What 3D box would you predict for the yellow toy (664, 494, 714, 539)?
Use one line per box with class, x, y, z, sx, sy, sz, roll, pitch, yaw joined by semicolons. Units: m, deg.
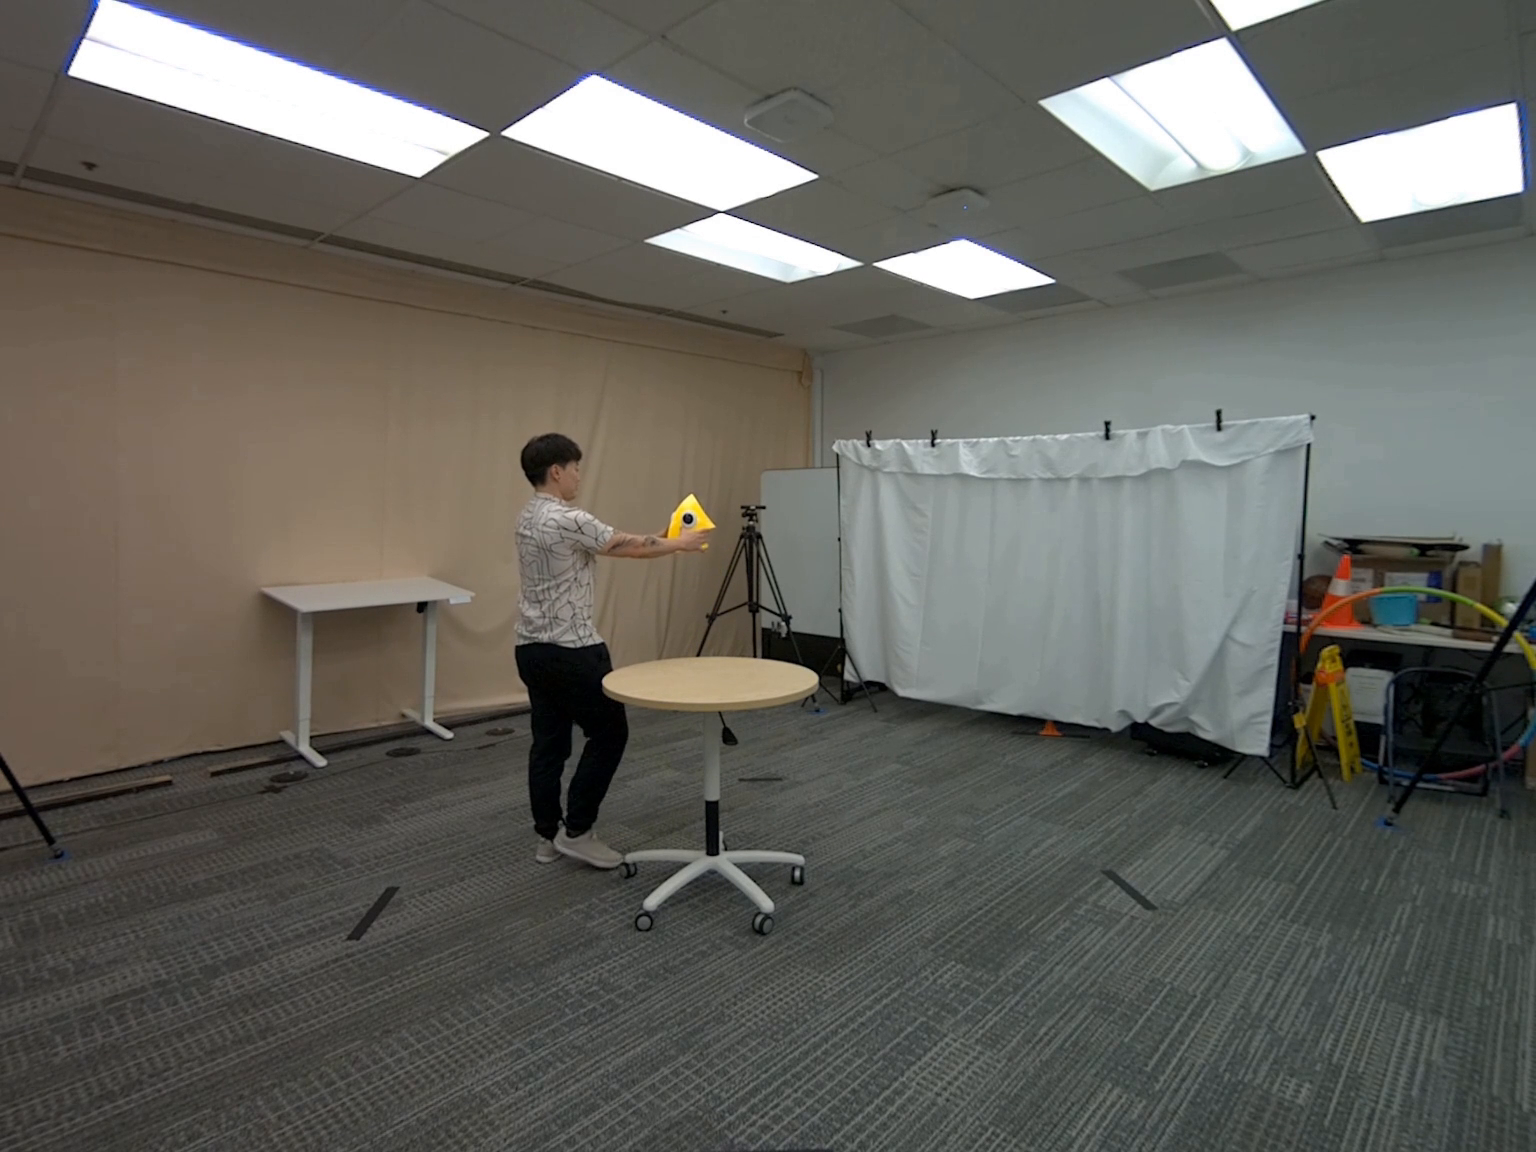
yellow toy;-0.355;-0.226;3.595;0.188;0.230;0.211;-13;7;-33
